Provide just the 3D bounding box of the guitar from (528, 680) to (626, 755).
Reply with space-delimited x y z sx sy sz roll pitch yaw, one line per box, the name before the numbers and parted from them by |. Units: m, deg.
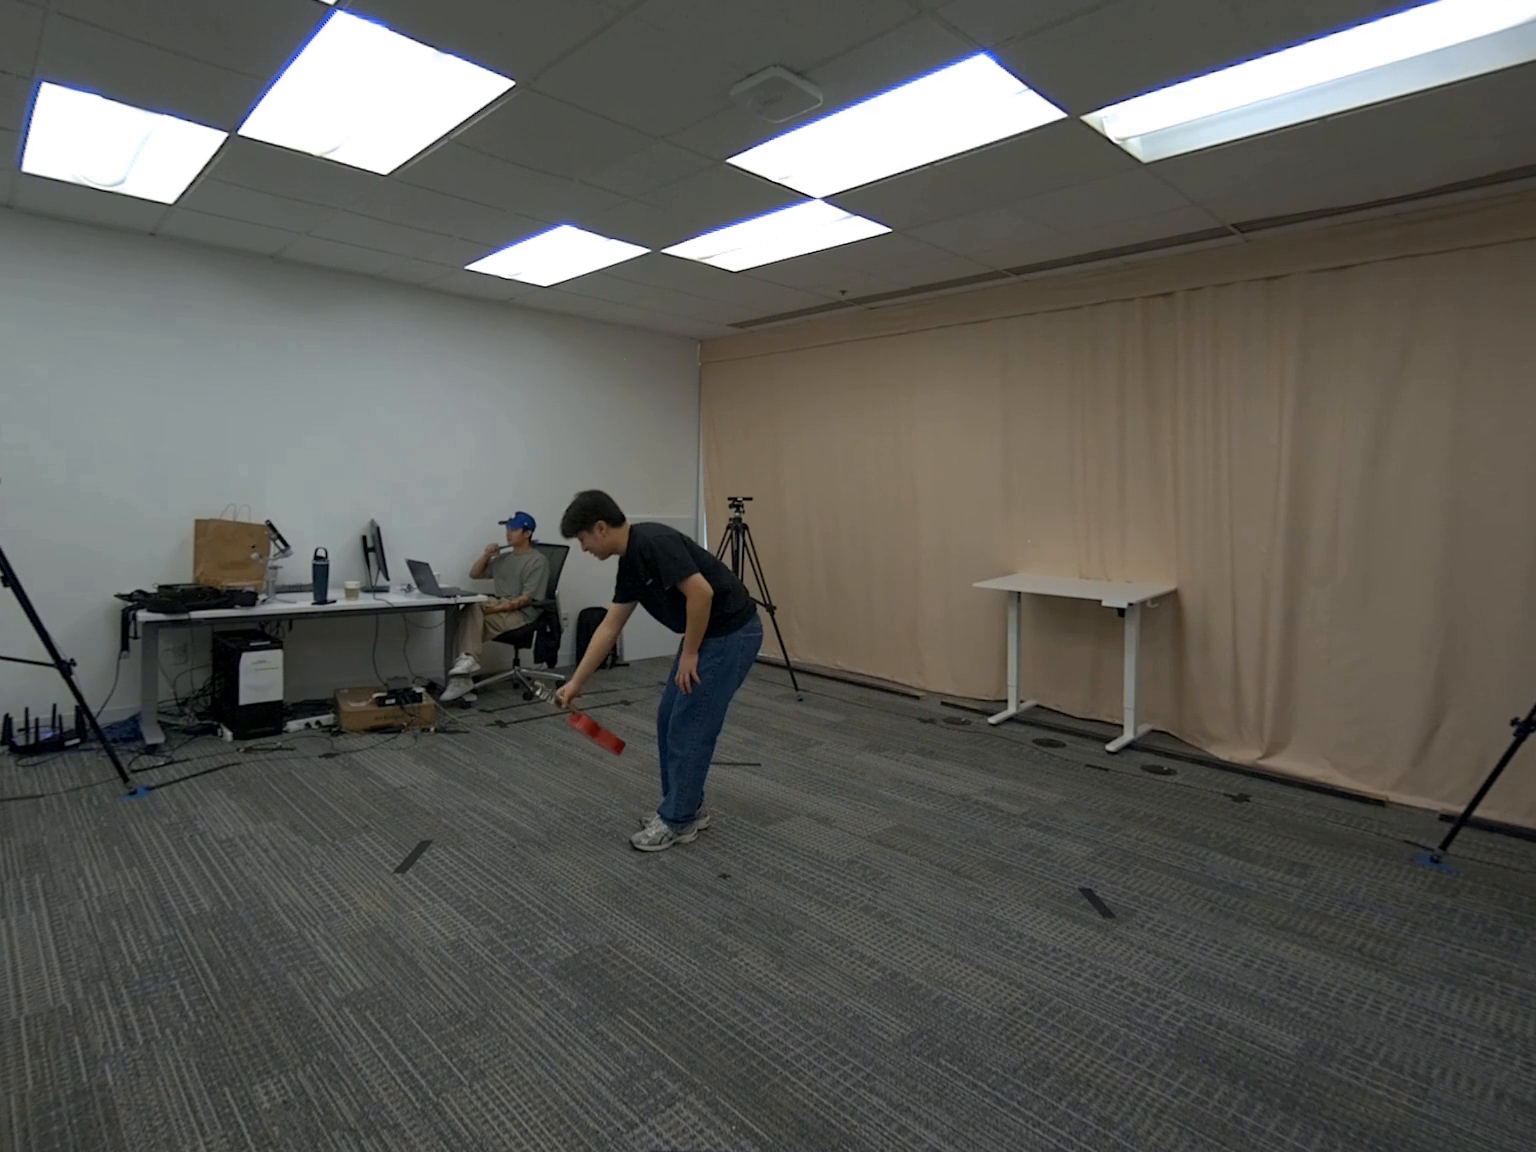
guitar | -0.812 0.587 3.519 0.487 0.071 0.196 41 -22 -21
